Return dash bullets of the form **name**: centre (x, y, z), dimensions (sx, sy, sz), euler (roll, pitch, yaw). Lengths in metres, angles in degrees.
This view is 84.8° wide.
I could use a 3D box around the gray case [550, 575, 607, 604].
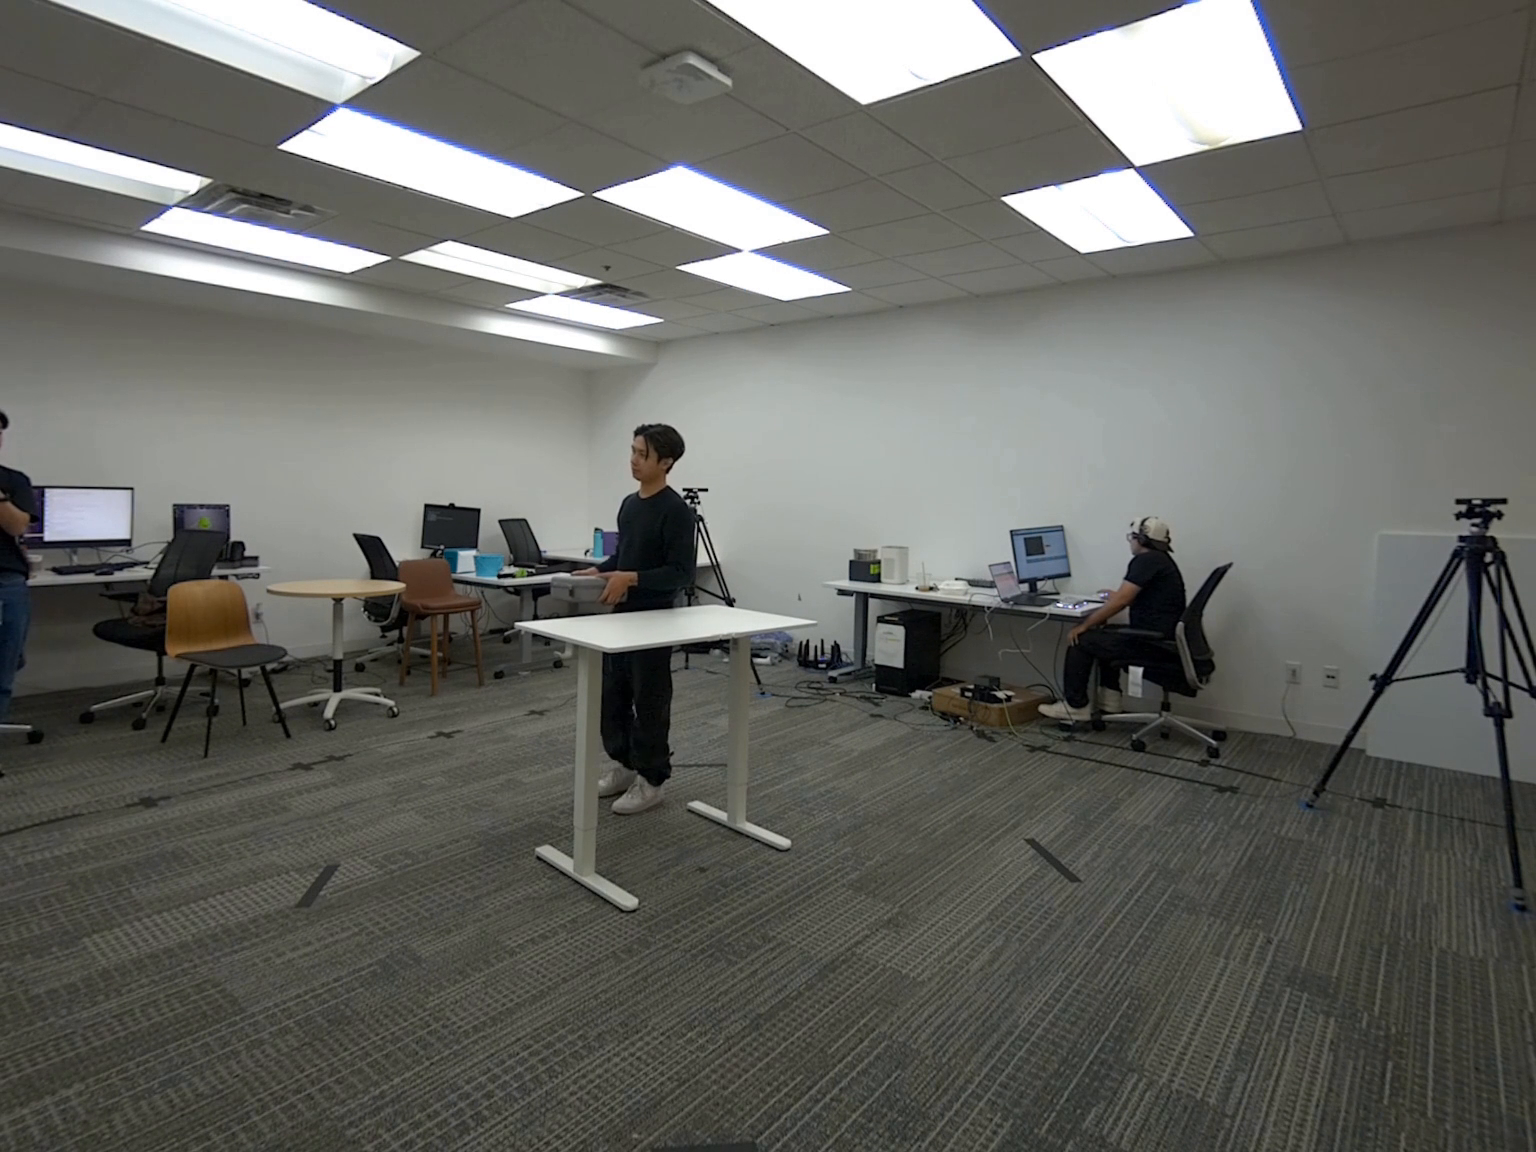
- **gray case**: centre (-0.769, 0.047, 3.585), dimensions (0.253, 0.104, 0.265), euler (-1, 2, -35)
